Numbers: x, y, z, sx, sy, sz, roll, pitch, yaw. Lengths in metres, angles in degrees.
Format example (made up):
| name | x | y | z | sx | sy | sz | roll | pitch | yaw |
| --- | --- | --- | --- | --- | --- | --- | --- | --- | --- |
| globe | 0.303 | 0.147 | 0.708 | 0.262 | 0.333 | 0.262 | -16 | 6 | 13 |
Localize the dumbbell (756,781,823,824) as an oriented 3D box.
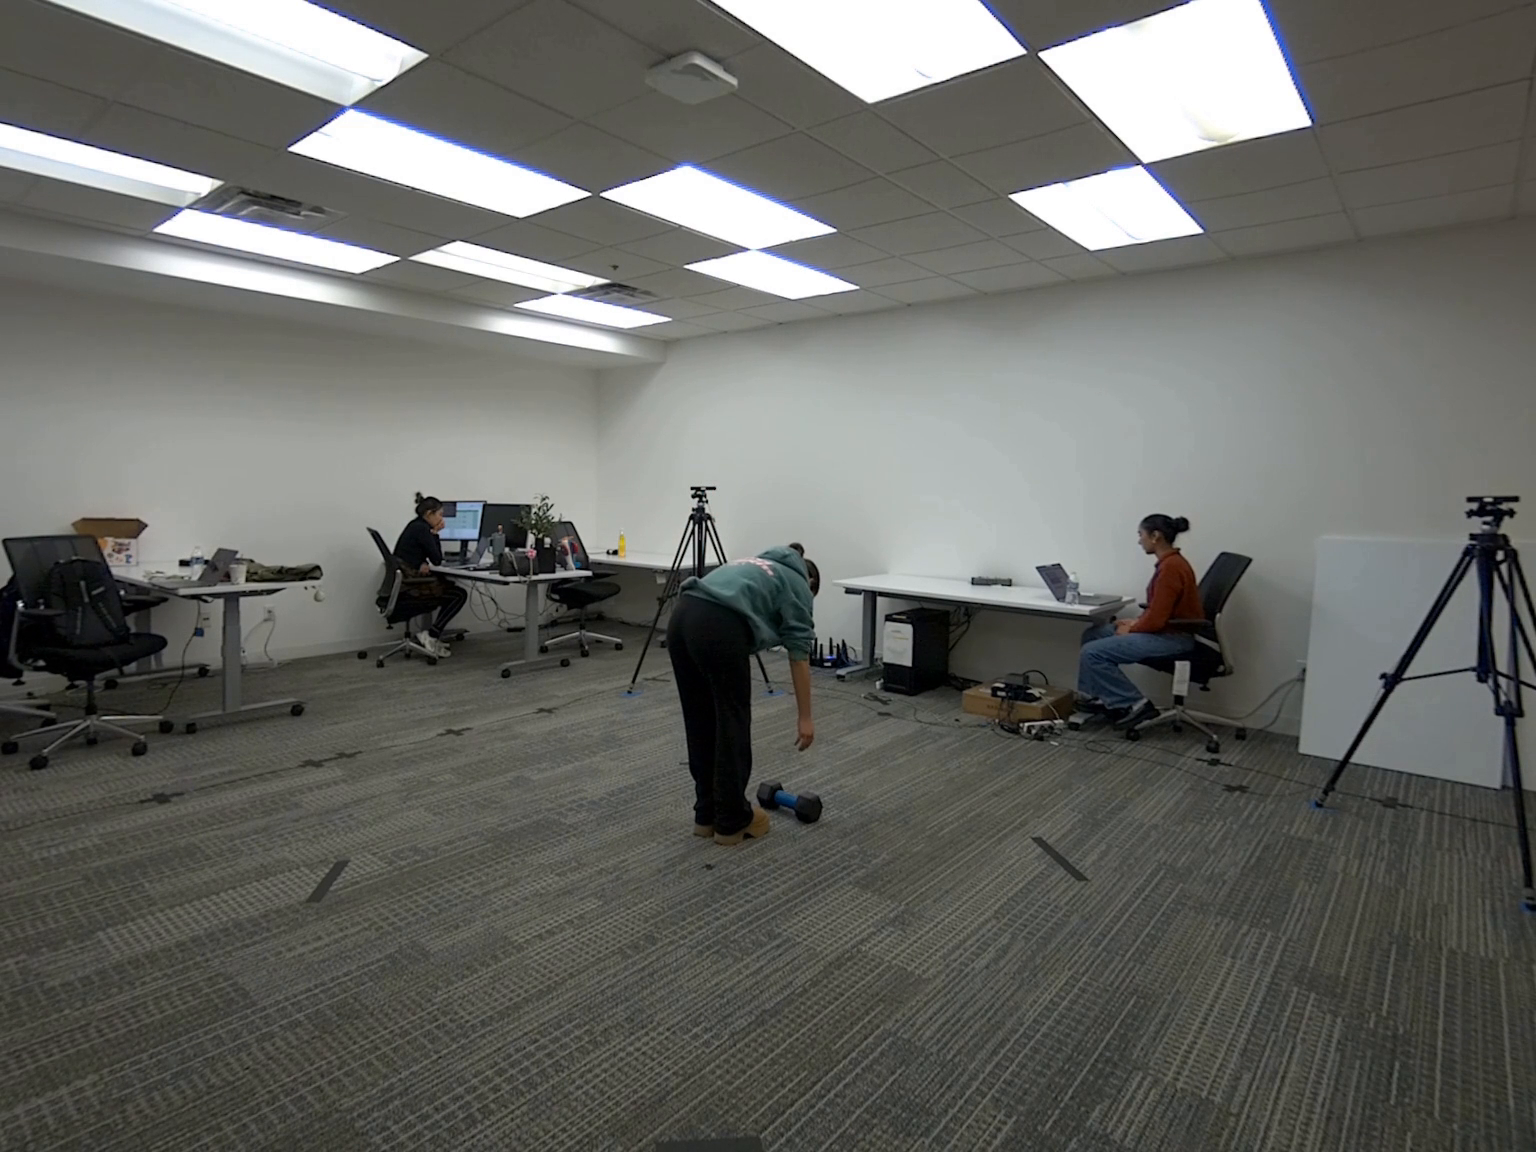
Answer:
| name | x | y | z | sx | sy | sz | roll | pitch | yaw |
| --- | --- | --- | --- | --- | --- | --- | --- | --- | --- |
| dumbbell | 0.081 | 0.961 | 3.653 | 0.303 | 0.124 | 0.104 | 5 | -26 | 44 |
